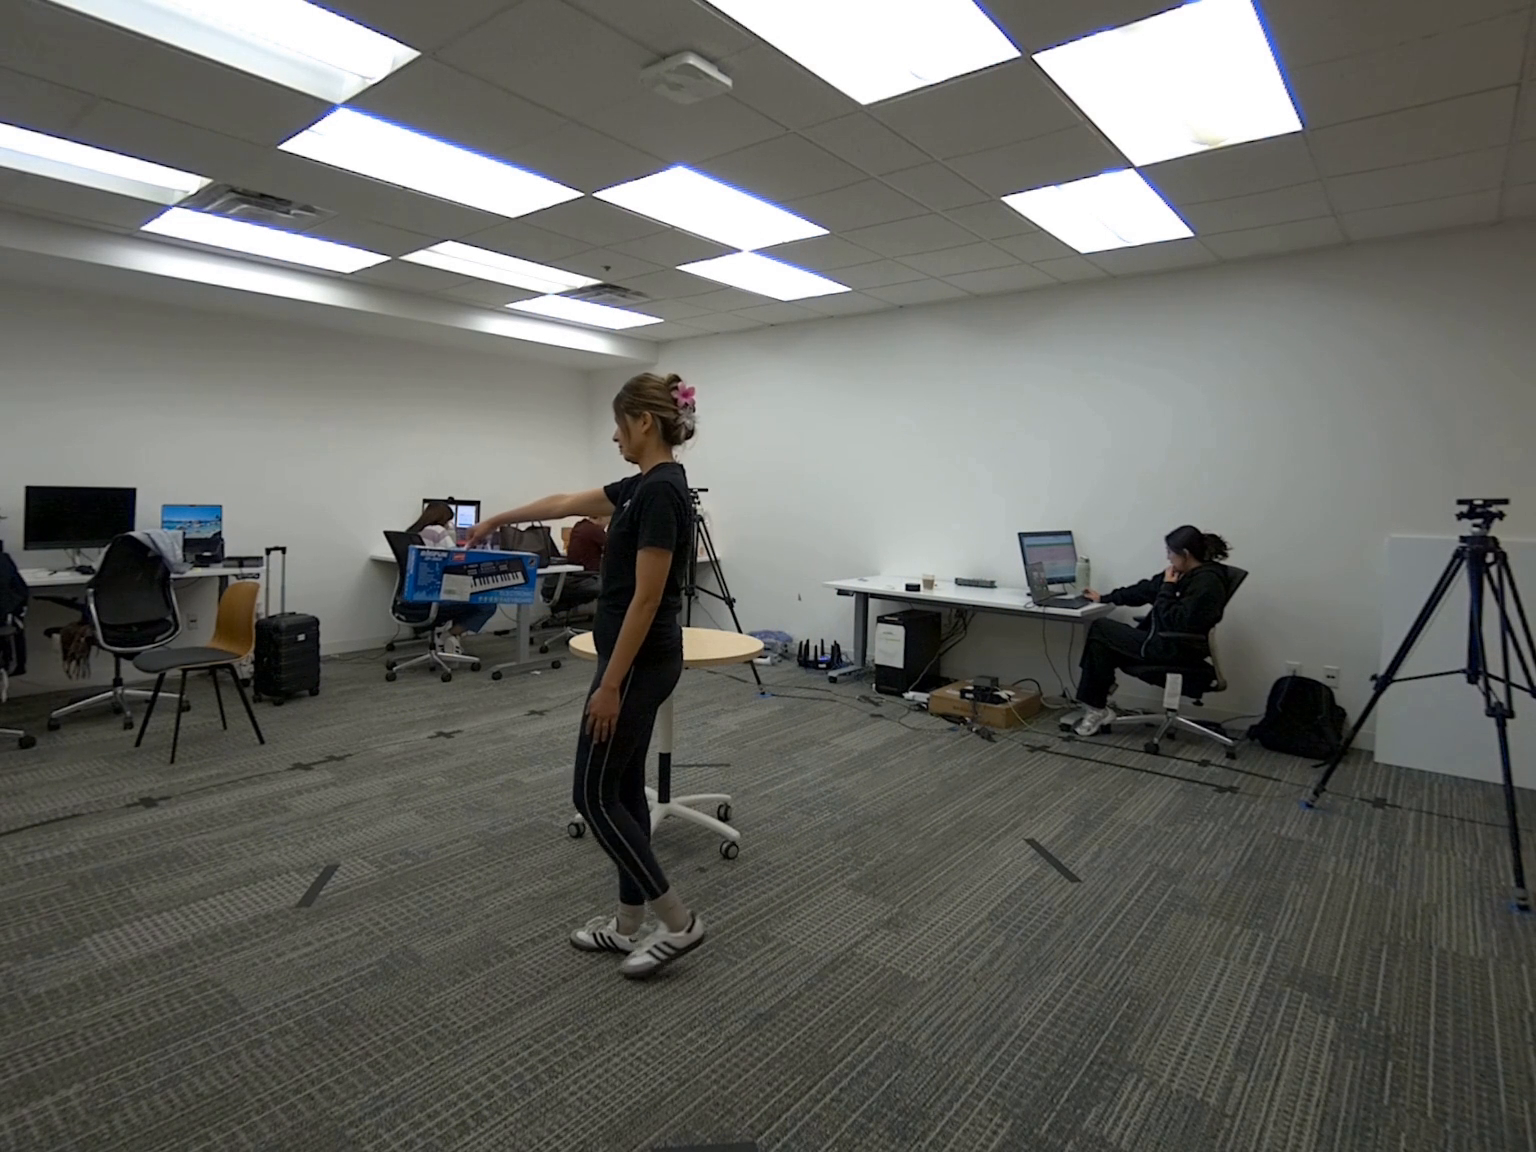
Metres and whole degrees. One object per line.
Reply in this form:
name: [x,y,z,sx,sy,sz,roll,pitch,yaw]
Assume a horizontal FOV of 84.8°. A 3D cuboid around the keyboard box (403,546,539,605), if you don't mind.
keyboard box: [-0.979,0.003,2.803,0.422,0.176,0.061,3,3,-45]
